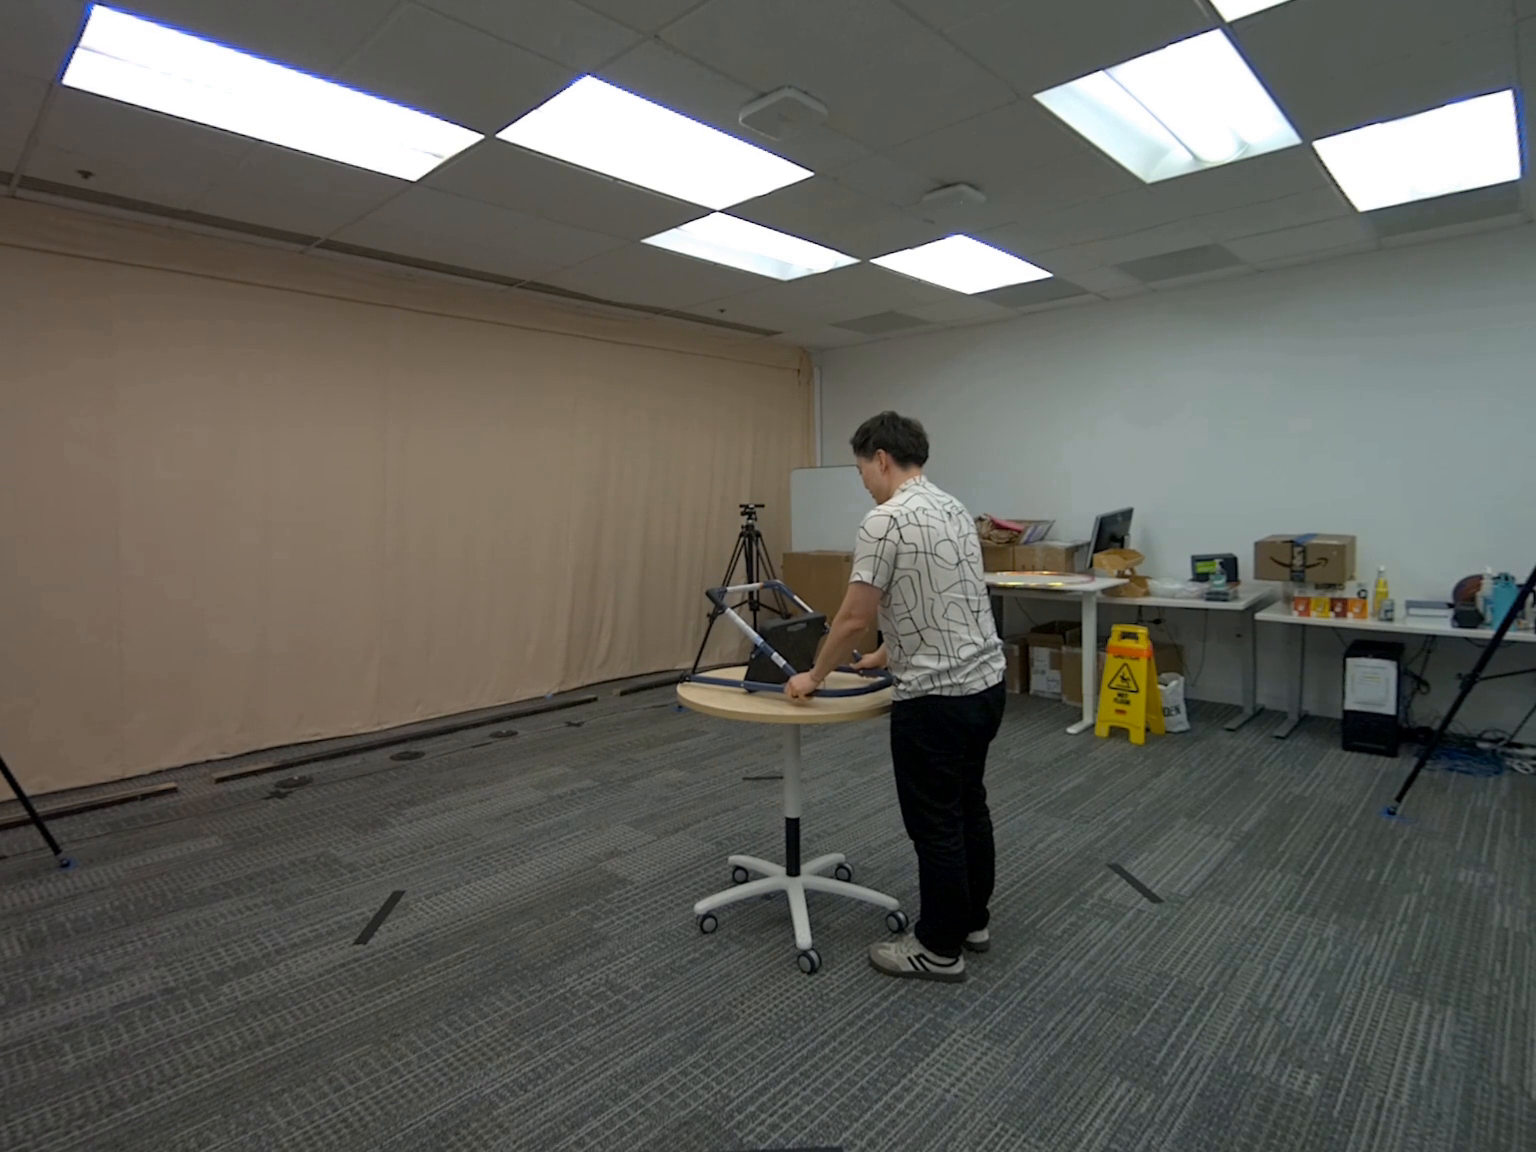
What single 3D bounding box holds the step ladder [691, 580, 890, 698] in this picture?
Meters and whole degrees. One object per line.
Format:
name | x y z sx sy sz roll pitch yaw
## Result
step ladder | 0.104 0.302 2.793 0.627 0.347 0.418 27 19 33
